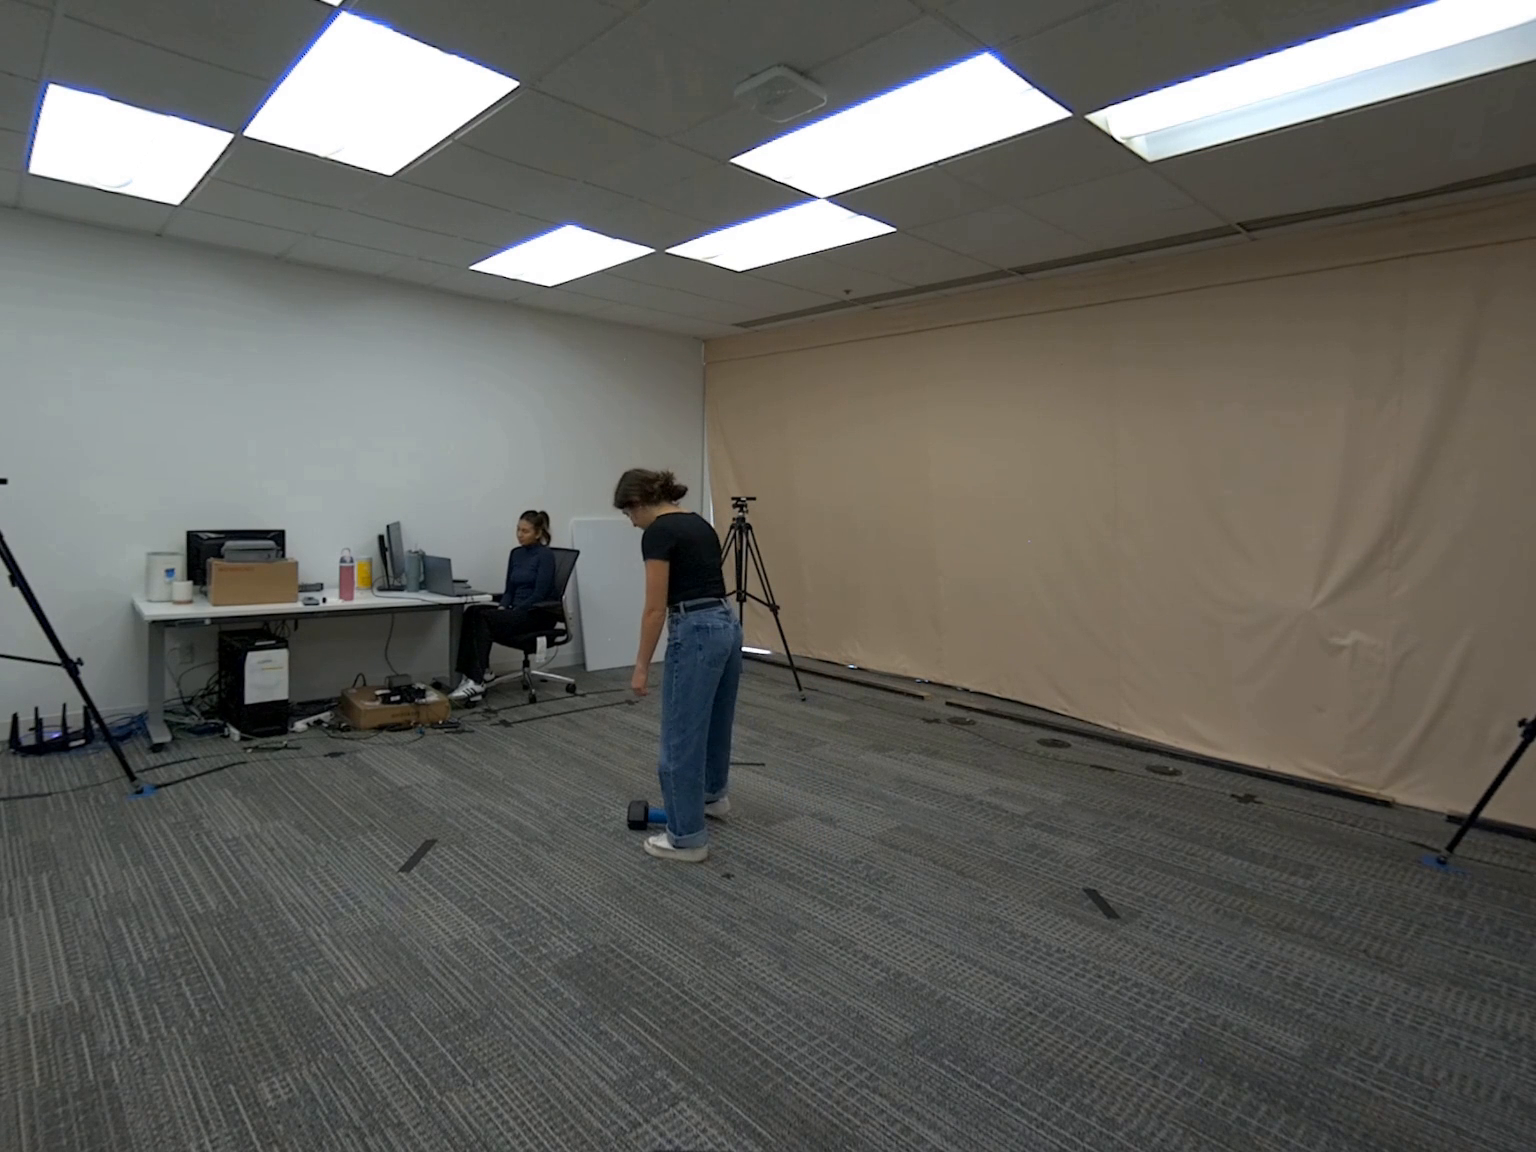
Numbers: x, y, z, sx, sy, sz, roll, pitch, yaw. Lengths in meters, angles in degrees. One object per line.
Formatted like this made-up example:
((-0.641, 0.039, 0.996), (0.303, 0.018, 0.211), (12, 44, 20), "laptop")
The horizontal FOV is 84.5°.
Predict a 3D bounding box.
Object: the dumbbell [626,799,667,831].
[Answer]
((-0.449, 1.008, 3.536), (0.294, 0.120, 0.111), (2, 34, 1), "dumbbell")
